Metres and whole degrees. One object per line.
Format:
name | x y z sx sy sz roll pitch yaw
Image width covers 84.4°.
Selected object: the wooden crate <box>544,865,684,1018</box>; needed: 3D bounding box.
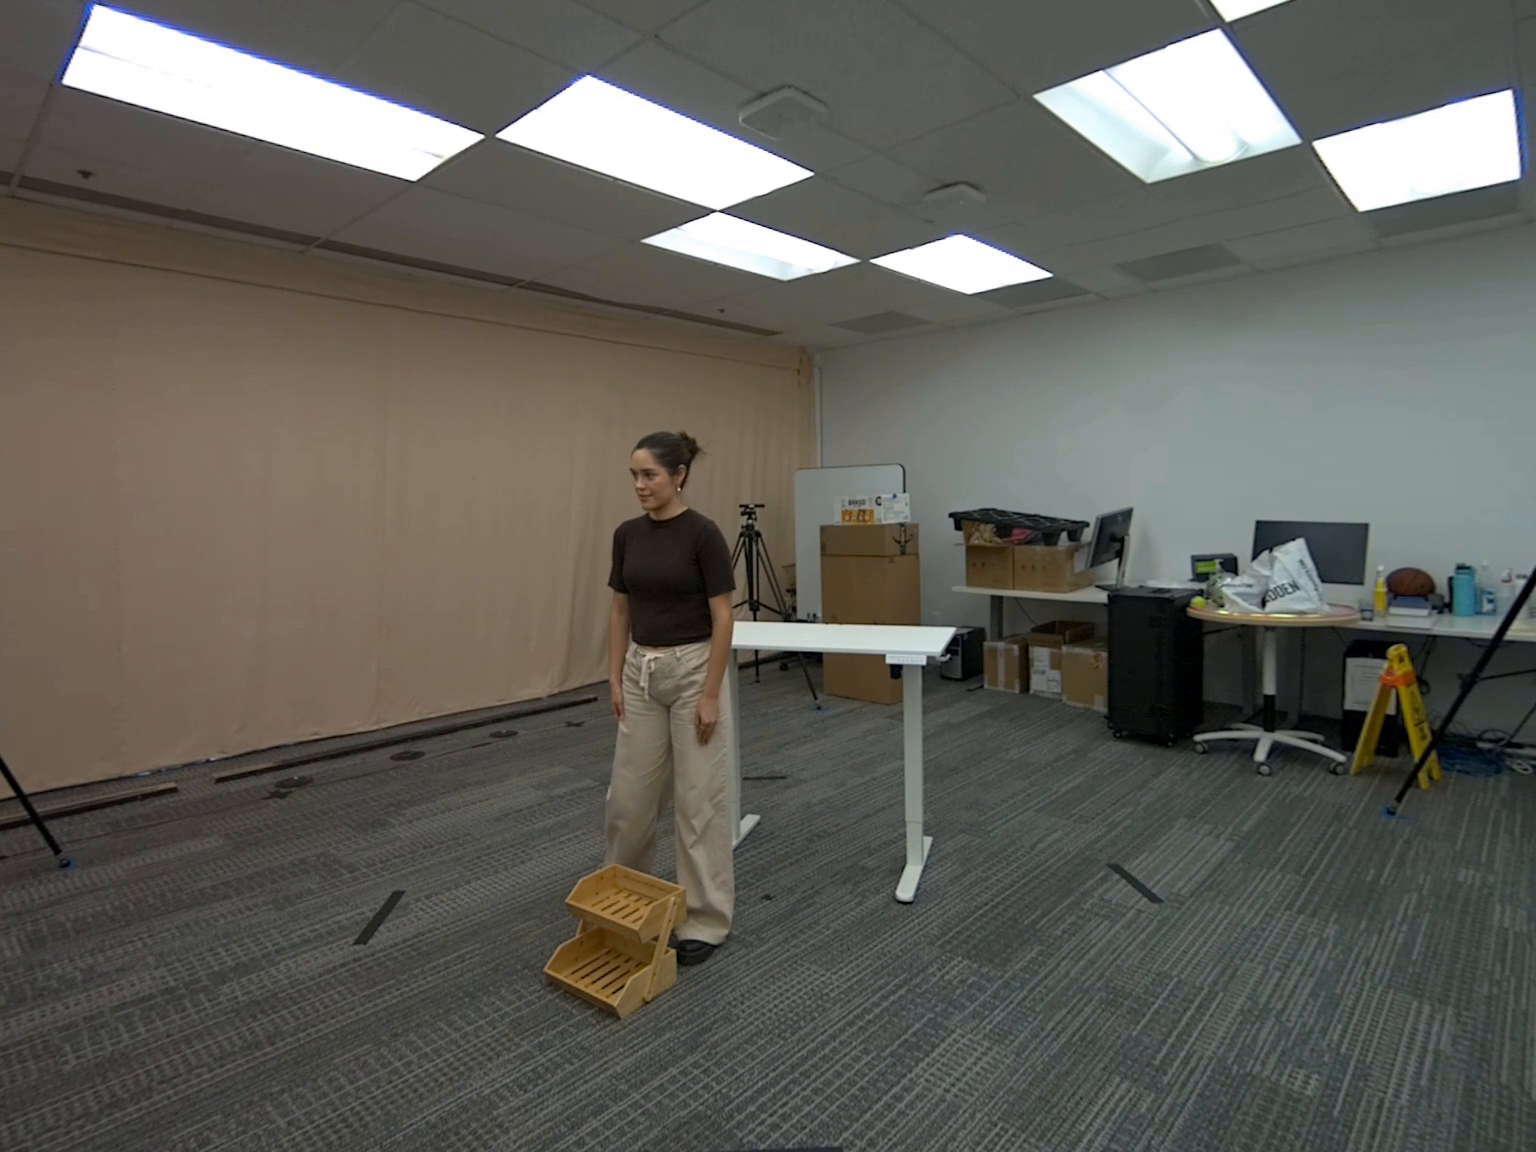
wooden crate | -0.449 1.060 2.474 0.334 0.273 0.293 1 4 36
